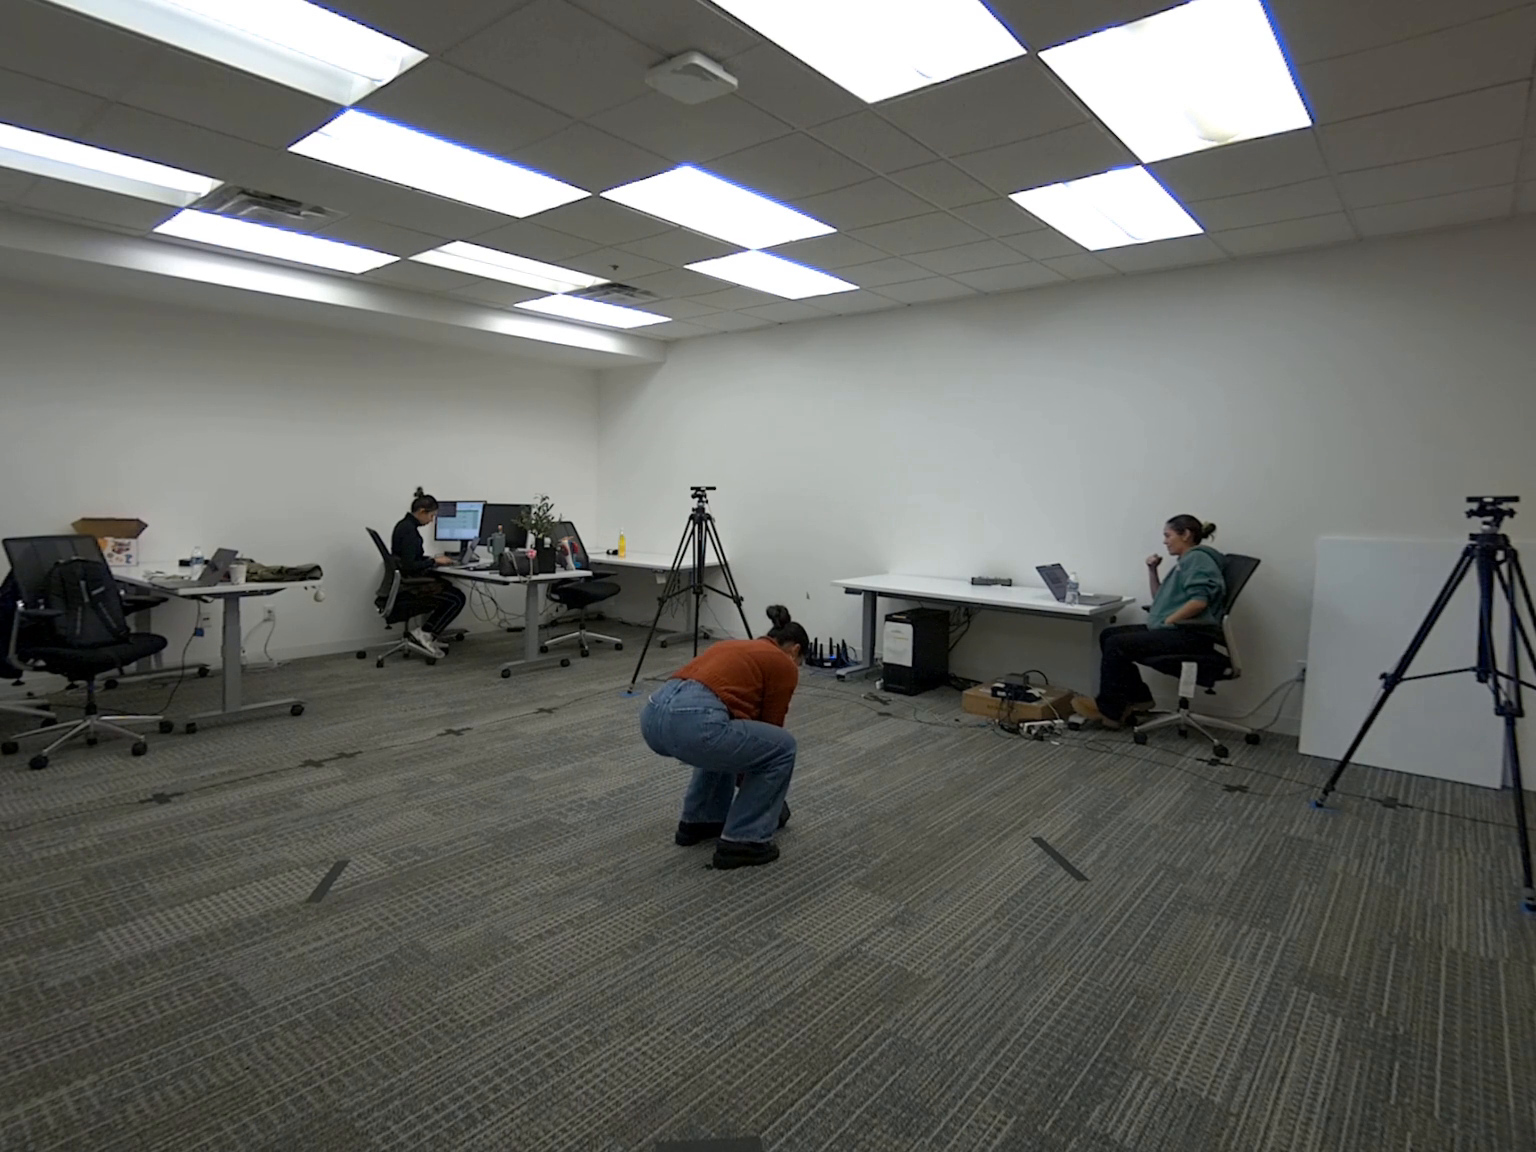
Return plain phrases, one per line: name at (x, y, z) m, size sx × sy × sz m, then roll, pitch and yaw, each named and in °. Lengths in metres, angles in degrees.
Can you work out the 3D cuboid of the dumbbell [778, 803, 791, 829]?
dumbbell at (-0.042, 0.981, 3.425) m, size 0.127 × 0.108 × 0.285 m, roll 4°, pitch 7°, yaw 40°
